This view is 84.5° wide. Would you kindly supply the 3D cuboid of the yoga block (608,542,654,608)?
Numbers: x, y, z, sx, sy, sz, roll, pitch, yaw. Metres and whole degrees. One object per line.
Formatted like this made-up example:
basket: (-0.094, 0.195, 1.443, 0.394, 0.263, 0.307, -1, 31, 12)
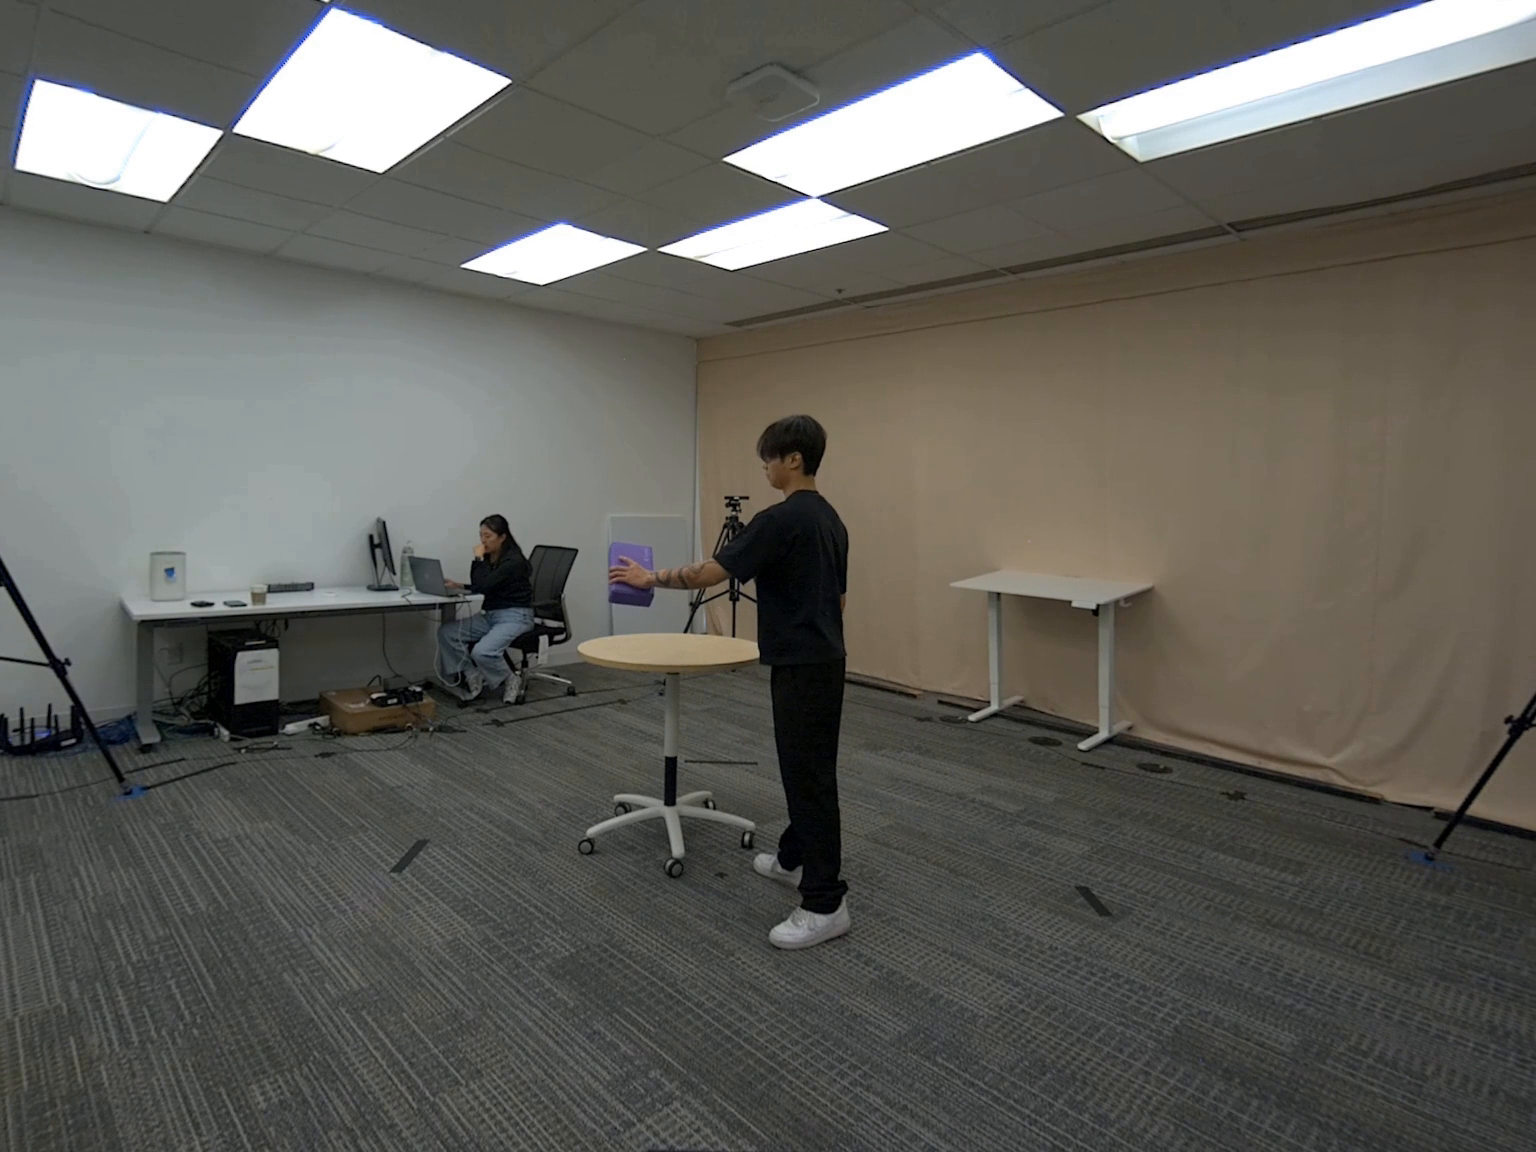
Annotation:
yoga block: (-0.478, -0.005, 2.924, 0.147, 0.235, 0.075, 5, -40, -17)
